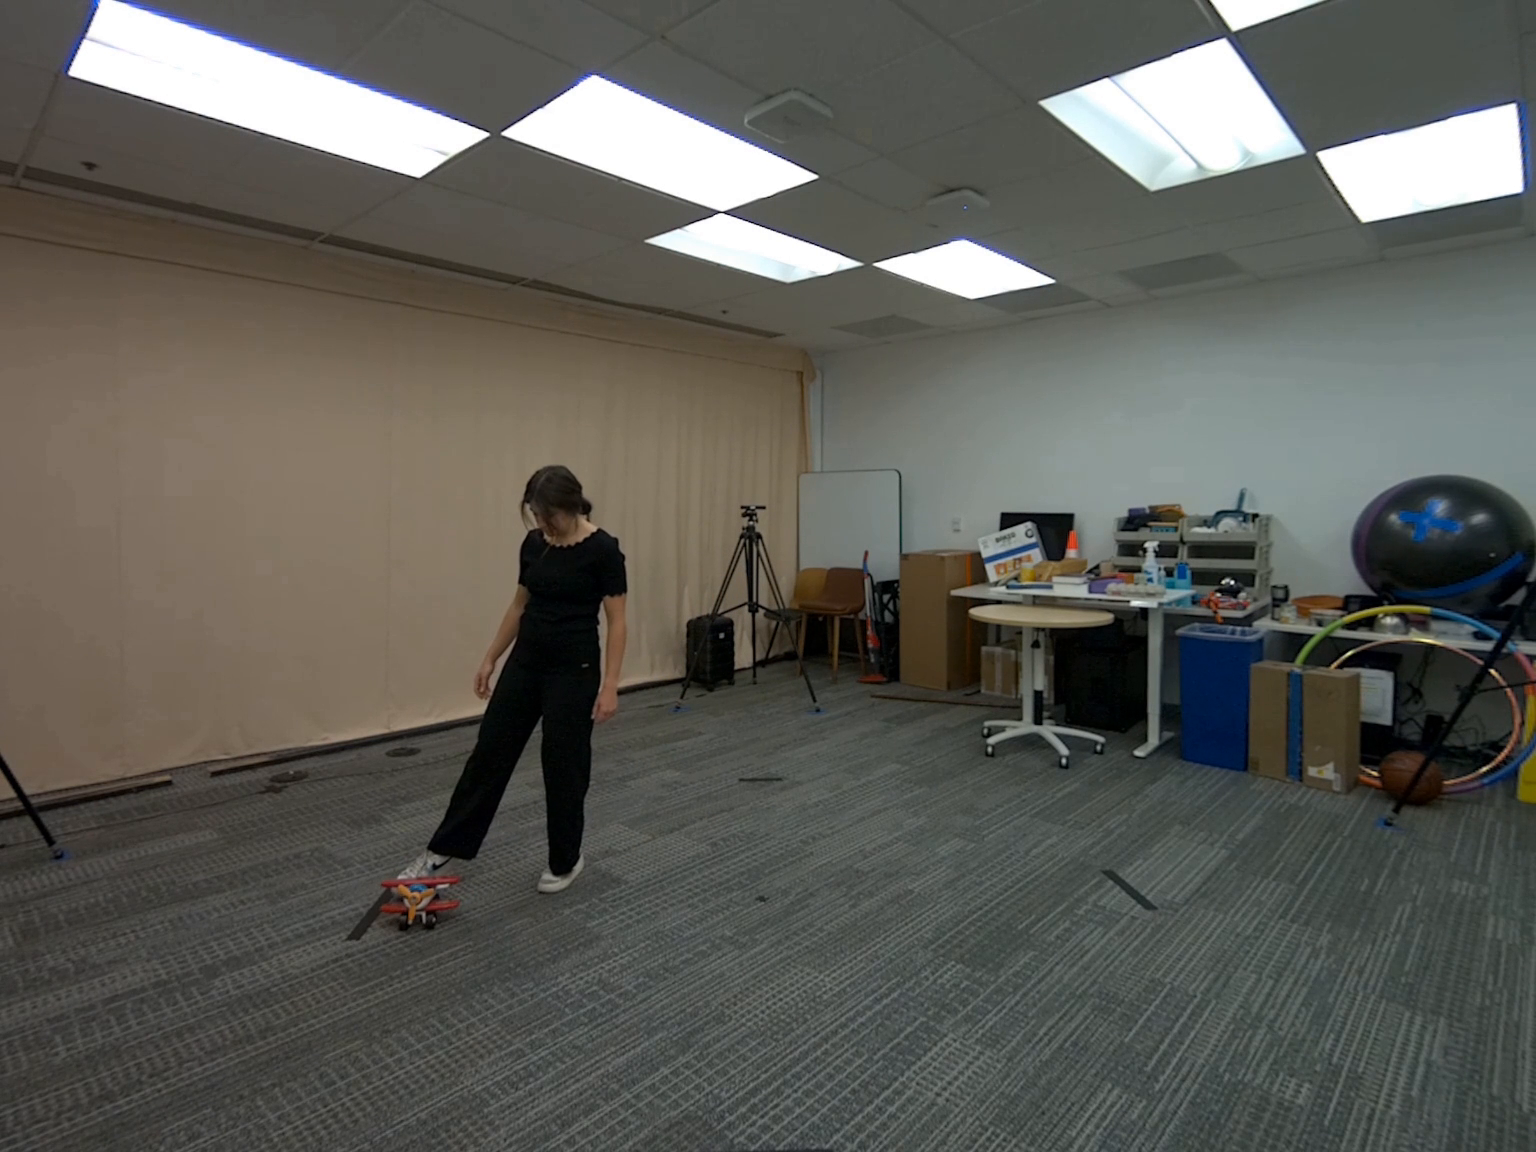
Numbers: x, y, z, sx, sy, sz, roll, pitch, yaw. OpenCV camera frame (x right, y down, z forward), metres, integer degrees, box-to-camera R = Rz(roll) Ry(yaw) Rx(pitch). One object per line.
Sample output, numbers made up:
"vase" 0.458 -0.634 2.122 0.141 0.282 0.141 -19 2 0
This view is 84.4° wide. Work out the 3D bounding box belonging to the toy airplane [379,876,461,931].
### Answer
"toy airplane" -1.193 1.086 2.868 0.244 0.156 0.267 -4 5 -35
